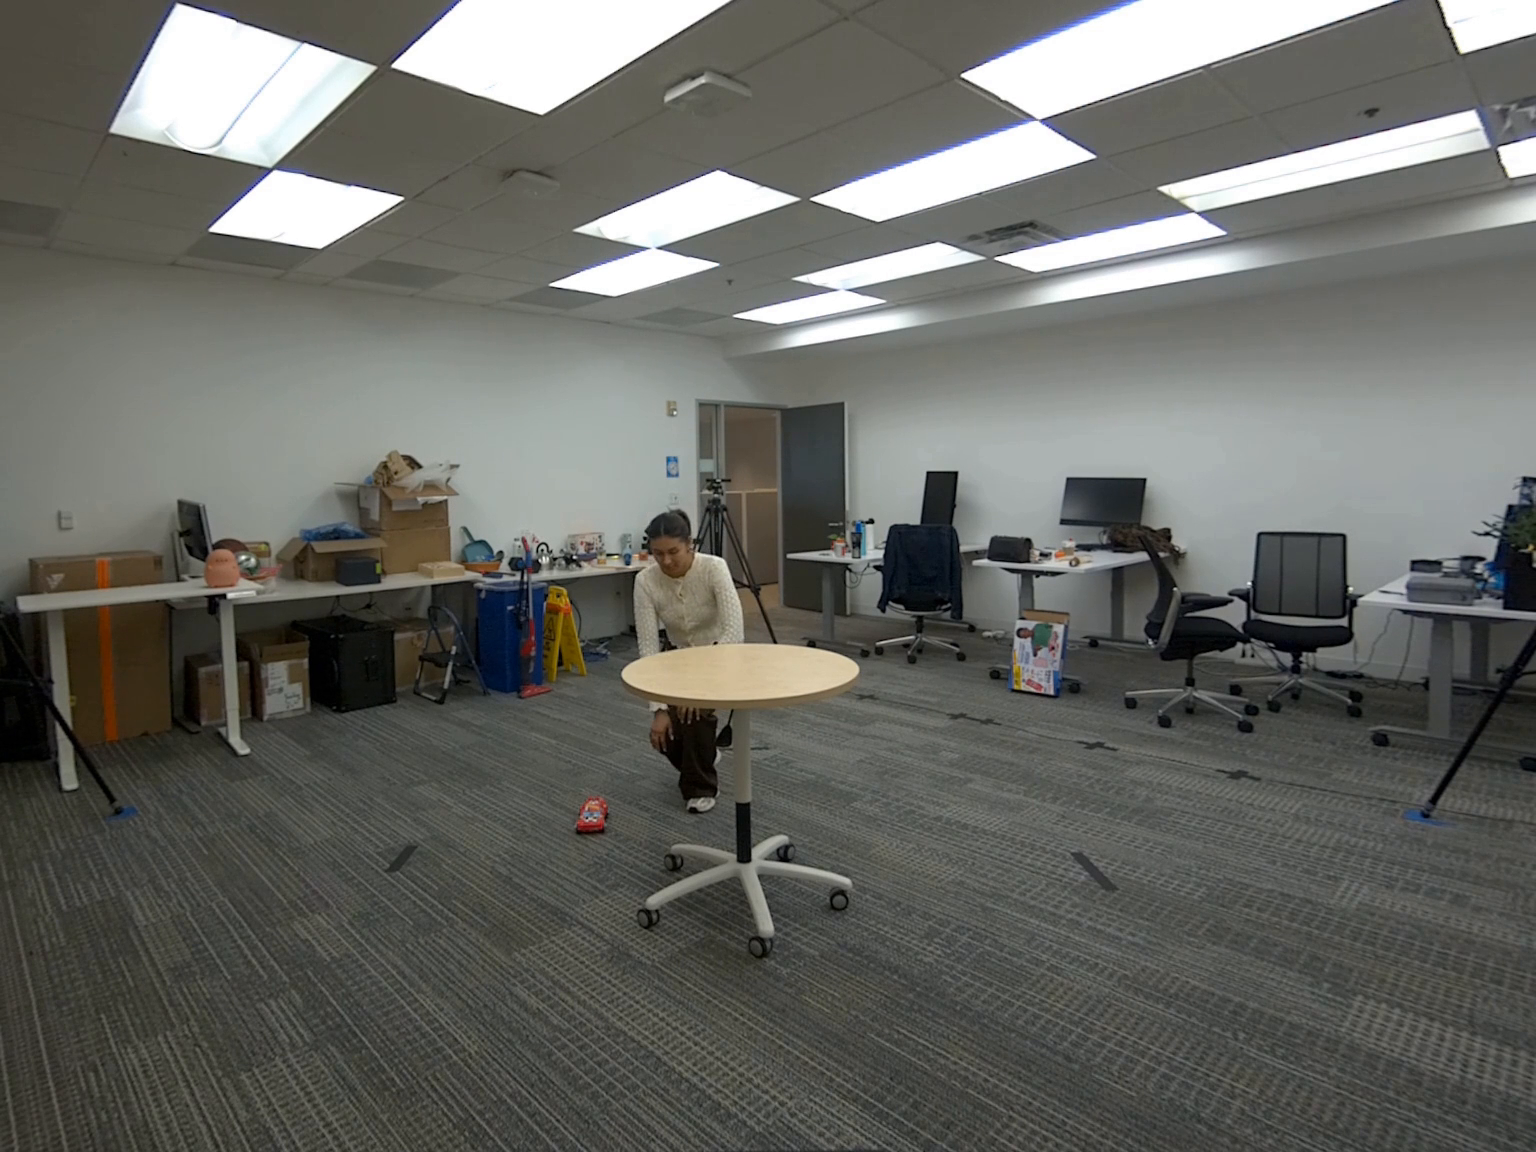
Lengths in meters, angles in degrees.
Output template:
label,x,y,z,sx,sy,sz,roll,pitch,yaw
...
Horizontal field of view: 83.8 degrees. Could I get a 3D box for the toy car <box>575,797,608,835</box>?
label,x,y,z,sx,sy,sz,roll,pitch,yaw
toy car,-0.719,0.982,3.503,0.129,0.082,0.259,-1,16,-6
